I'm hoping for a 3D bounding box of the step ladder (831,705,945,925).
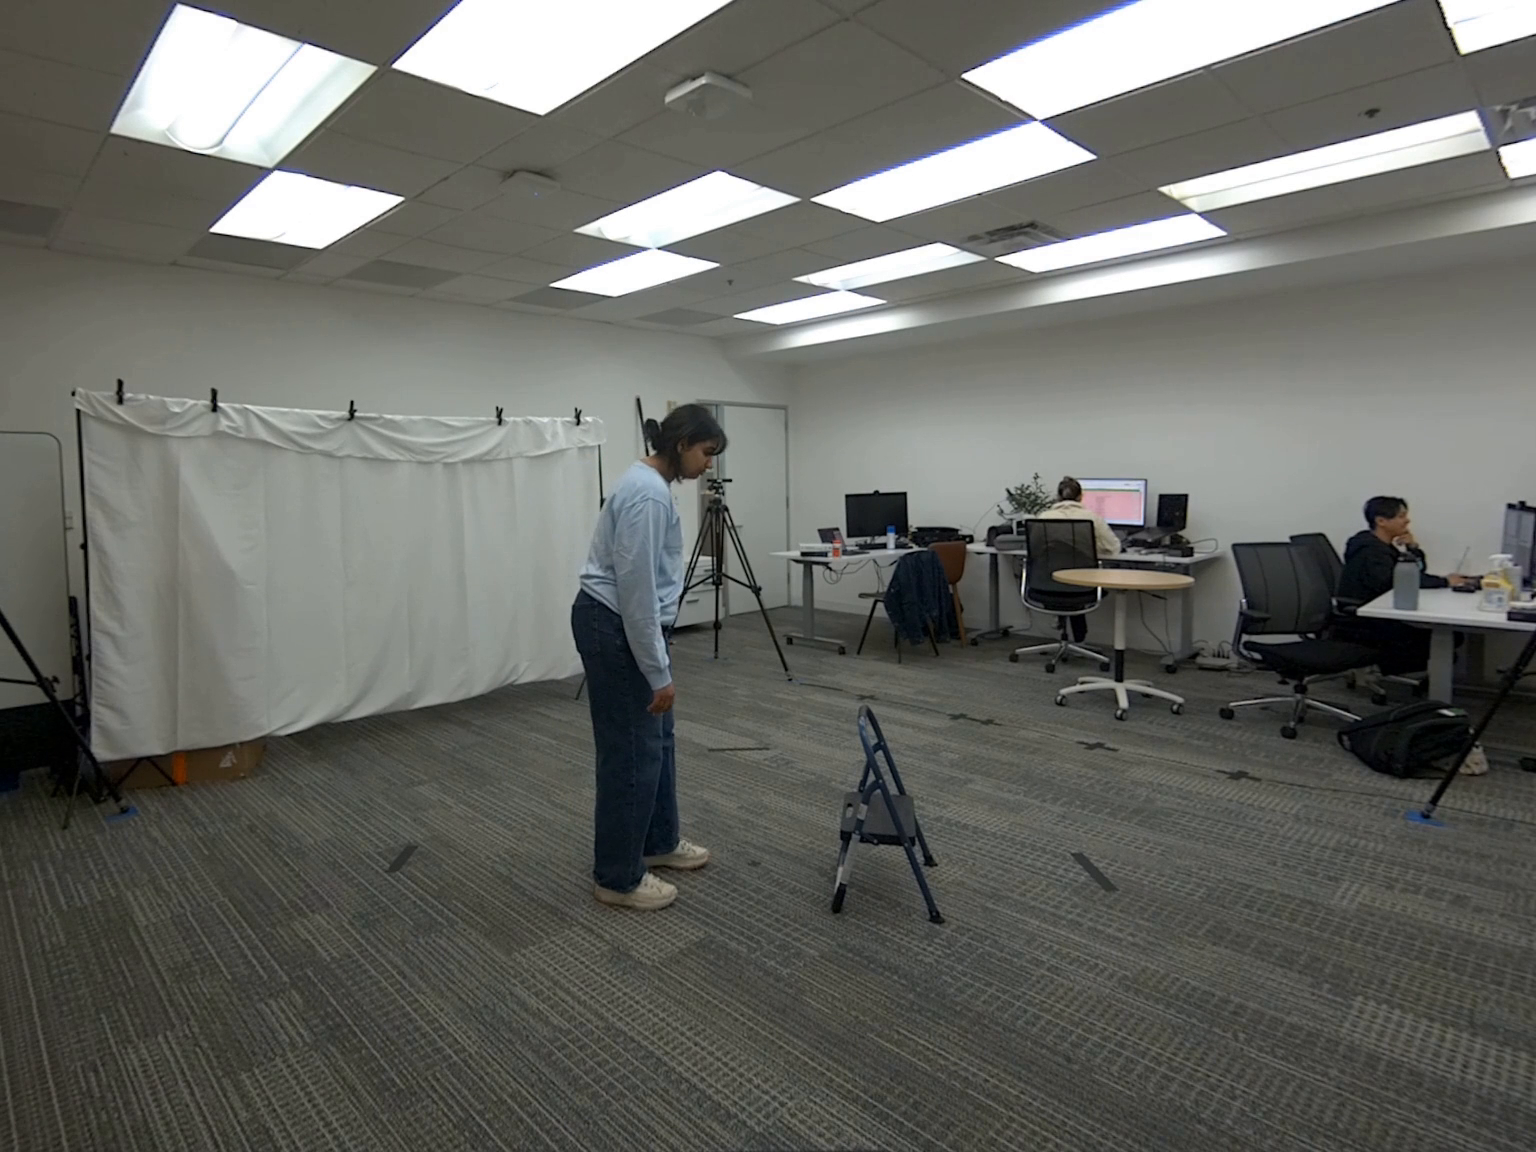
[{"bbox_3d":[0.400,0.755,2.888,0.353,0.604,0.428,0,4,9],"label":"step ladder"}]
